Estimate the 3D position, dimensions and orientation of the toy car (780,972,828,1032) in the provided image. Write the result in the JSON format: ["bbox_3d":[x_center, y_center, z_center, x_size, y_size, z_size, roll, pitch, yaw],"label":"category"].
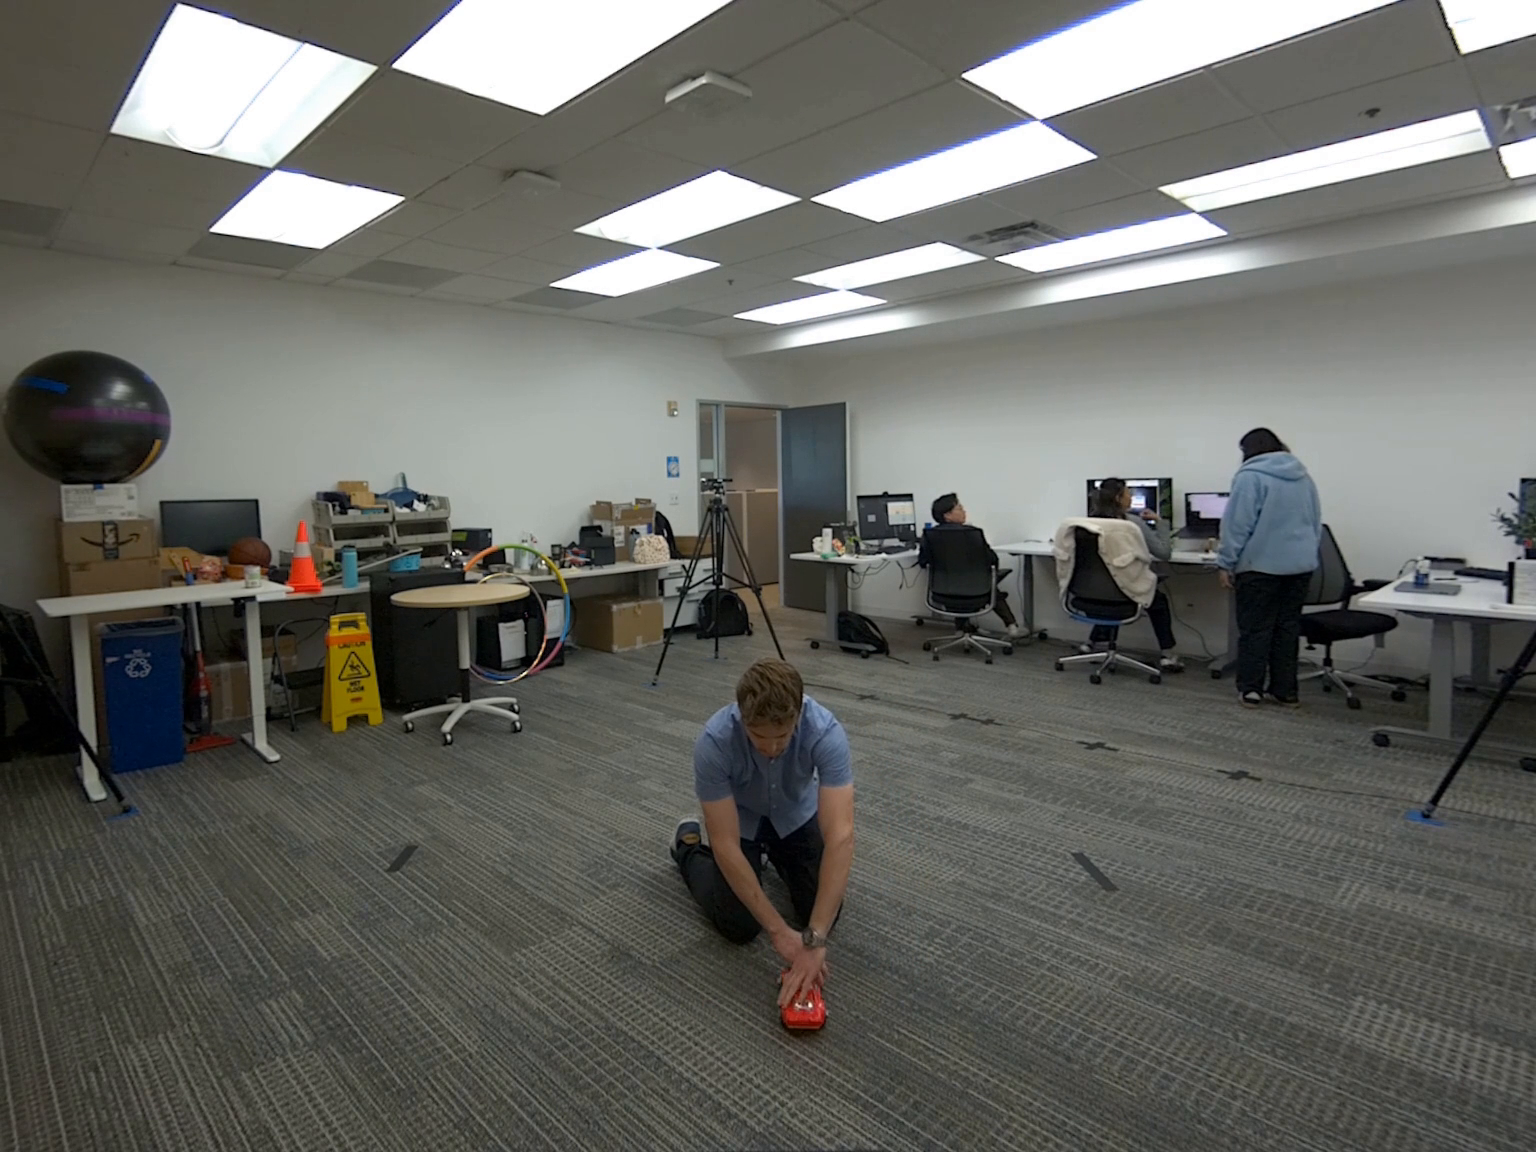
[{"bbox_3d":[0.096,1.120,2.237,0.131,0.084,0.252,-5,-4,2],"label":"toy car"}]
